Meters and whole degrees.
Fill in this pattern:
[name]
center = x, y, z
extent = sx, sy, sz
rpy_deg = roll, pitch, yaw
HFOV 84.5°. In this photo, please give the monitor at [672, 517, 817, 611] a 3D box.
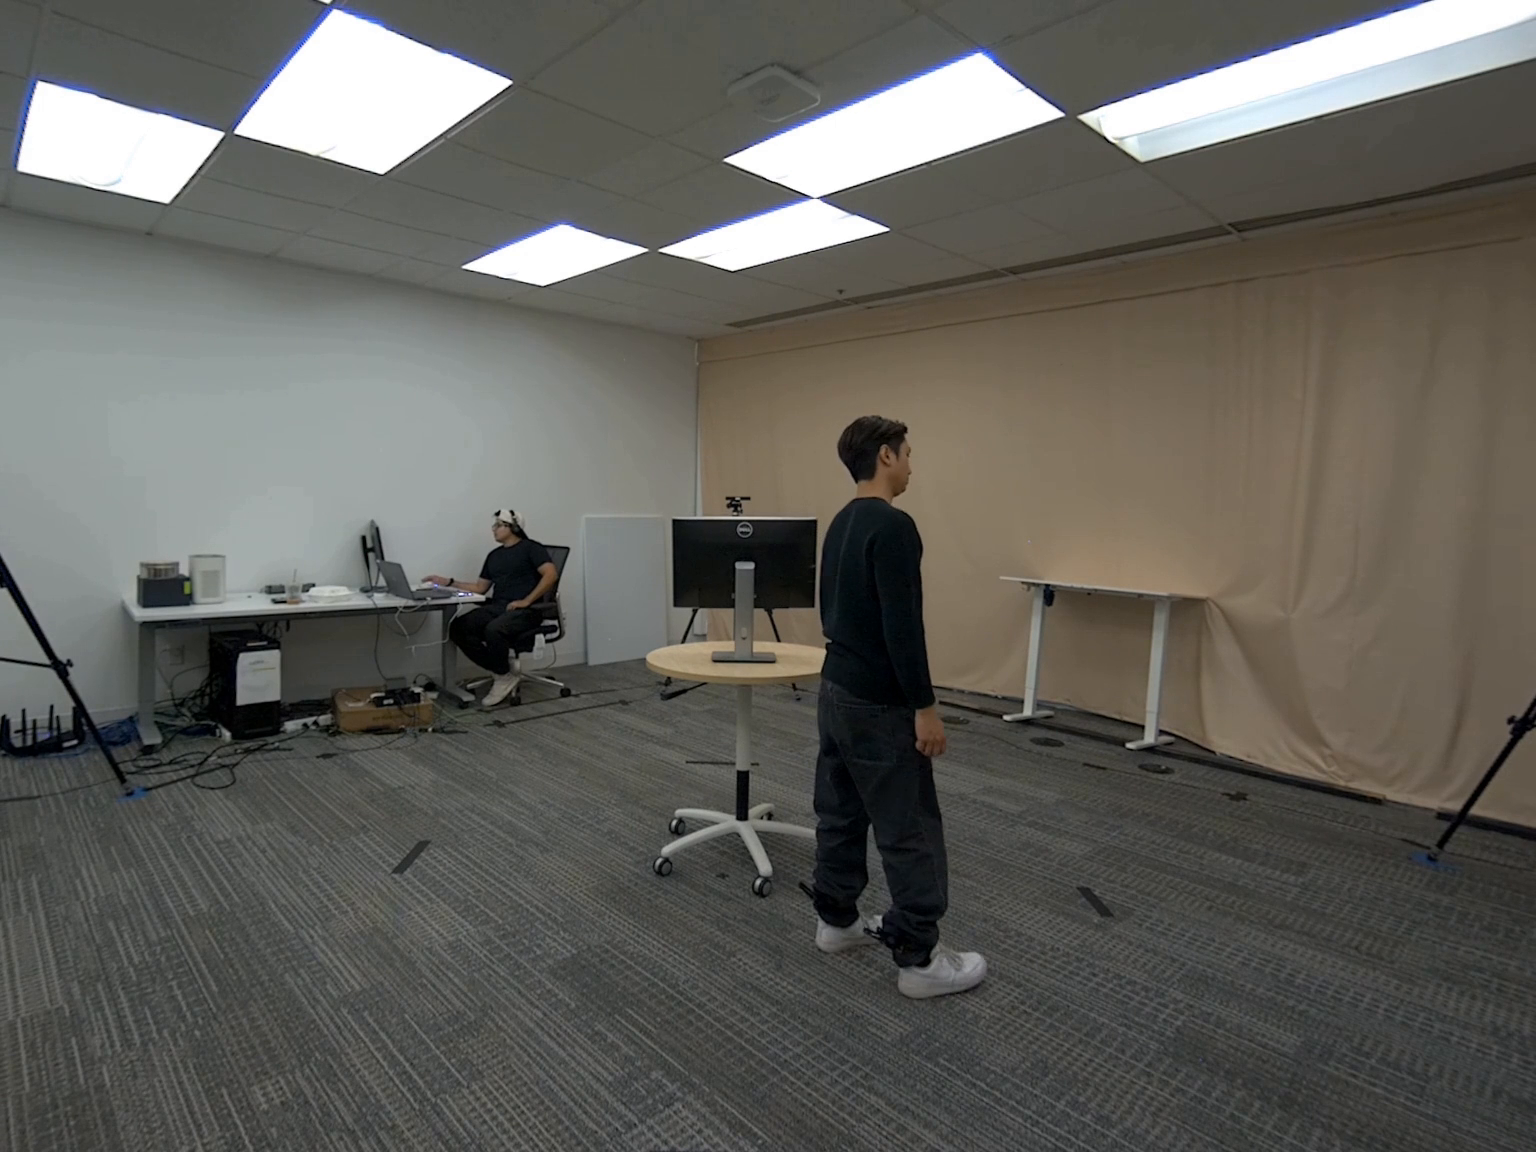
[monitor]
center = -0.094, 0.057, 3.214
extent = 0.538, 0.521, 0.188
rpy_deg = 2, 3, -1
